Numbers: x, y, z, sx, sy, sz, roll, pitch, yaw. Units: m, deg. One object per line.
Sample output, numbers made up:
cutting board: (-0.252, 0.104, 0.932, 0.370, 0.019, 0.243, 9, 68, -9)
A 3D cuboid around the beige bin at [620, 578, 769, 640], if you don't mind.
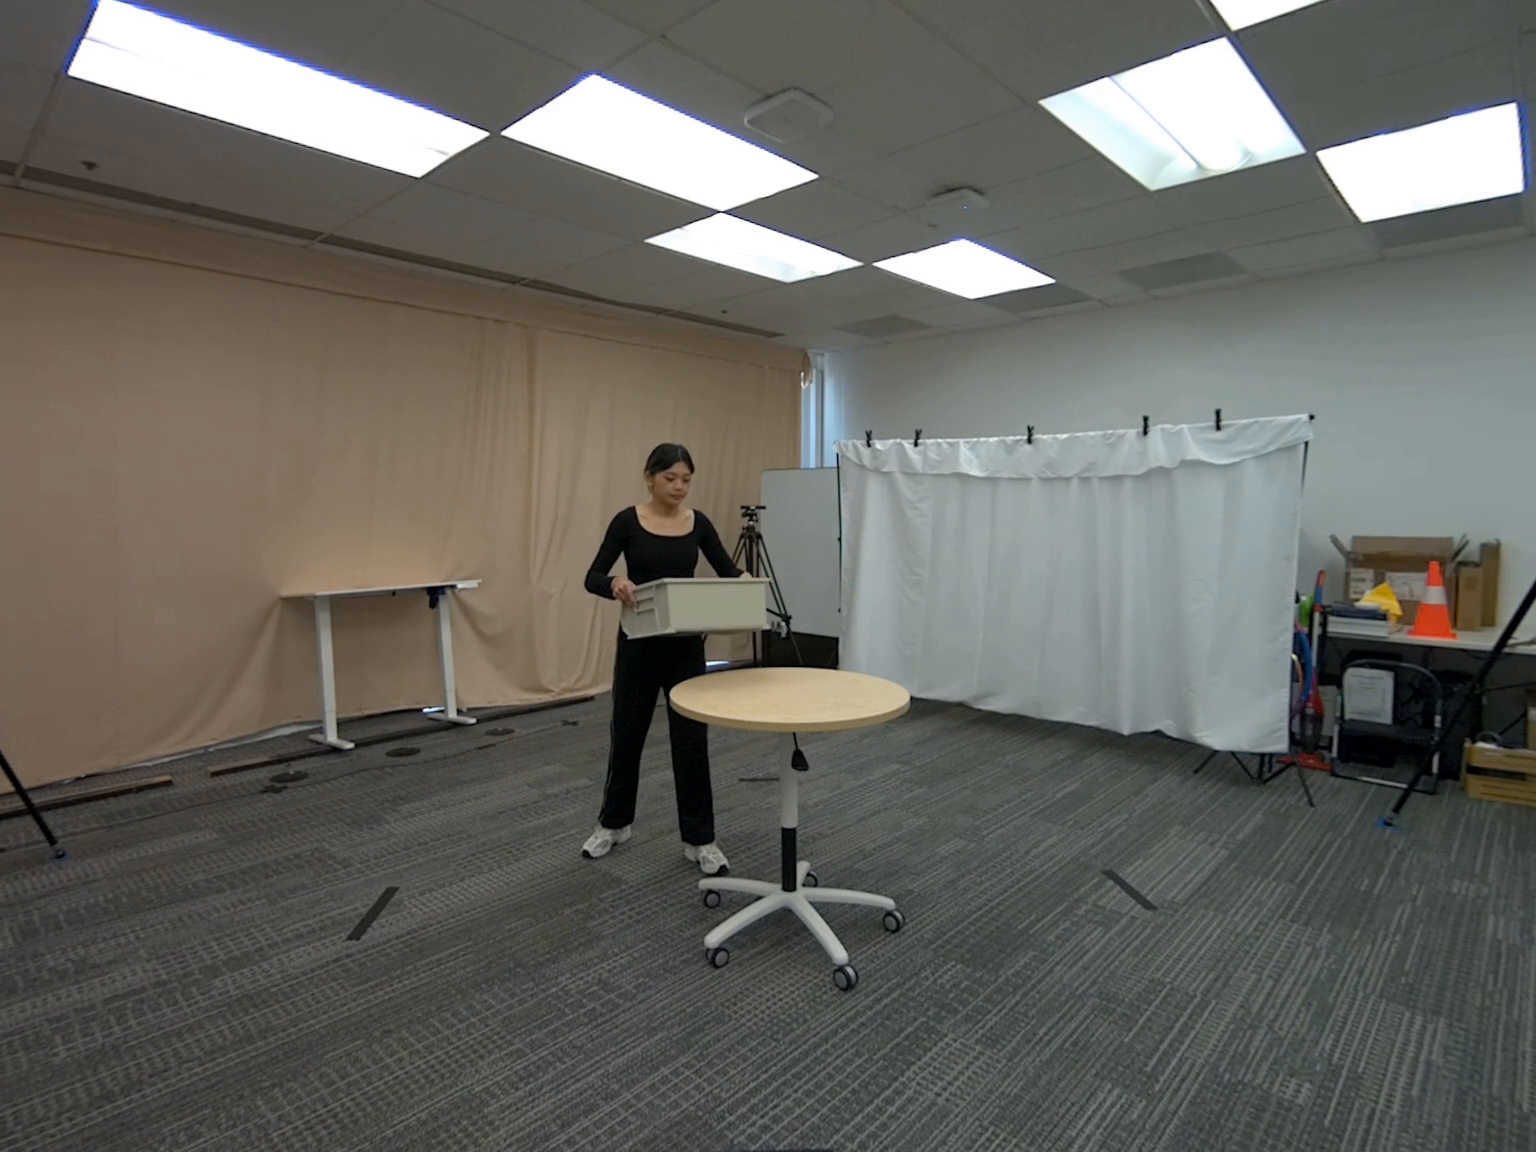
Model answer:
beige bin: (-0.261, 0.122, 3.025, 0.410, 0.190, 0.386, 1, -7, -31)
